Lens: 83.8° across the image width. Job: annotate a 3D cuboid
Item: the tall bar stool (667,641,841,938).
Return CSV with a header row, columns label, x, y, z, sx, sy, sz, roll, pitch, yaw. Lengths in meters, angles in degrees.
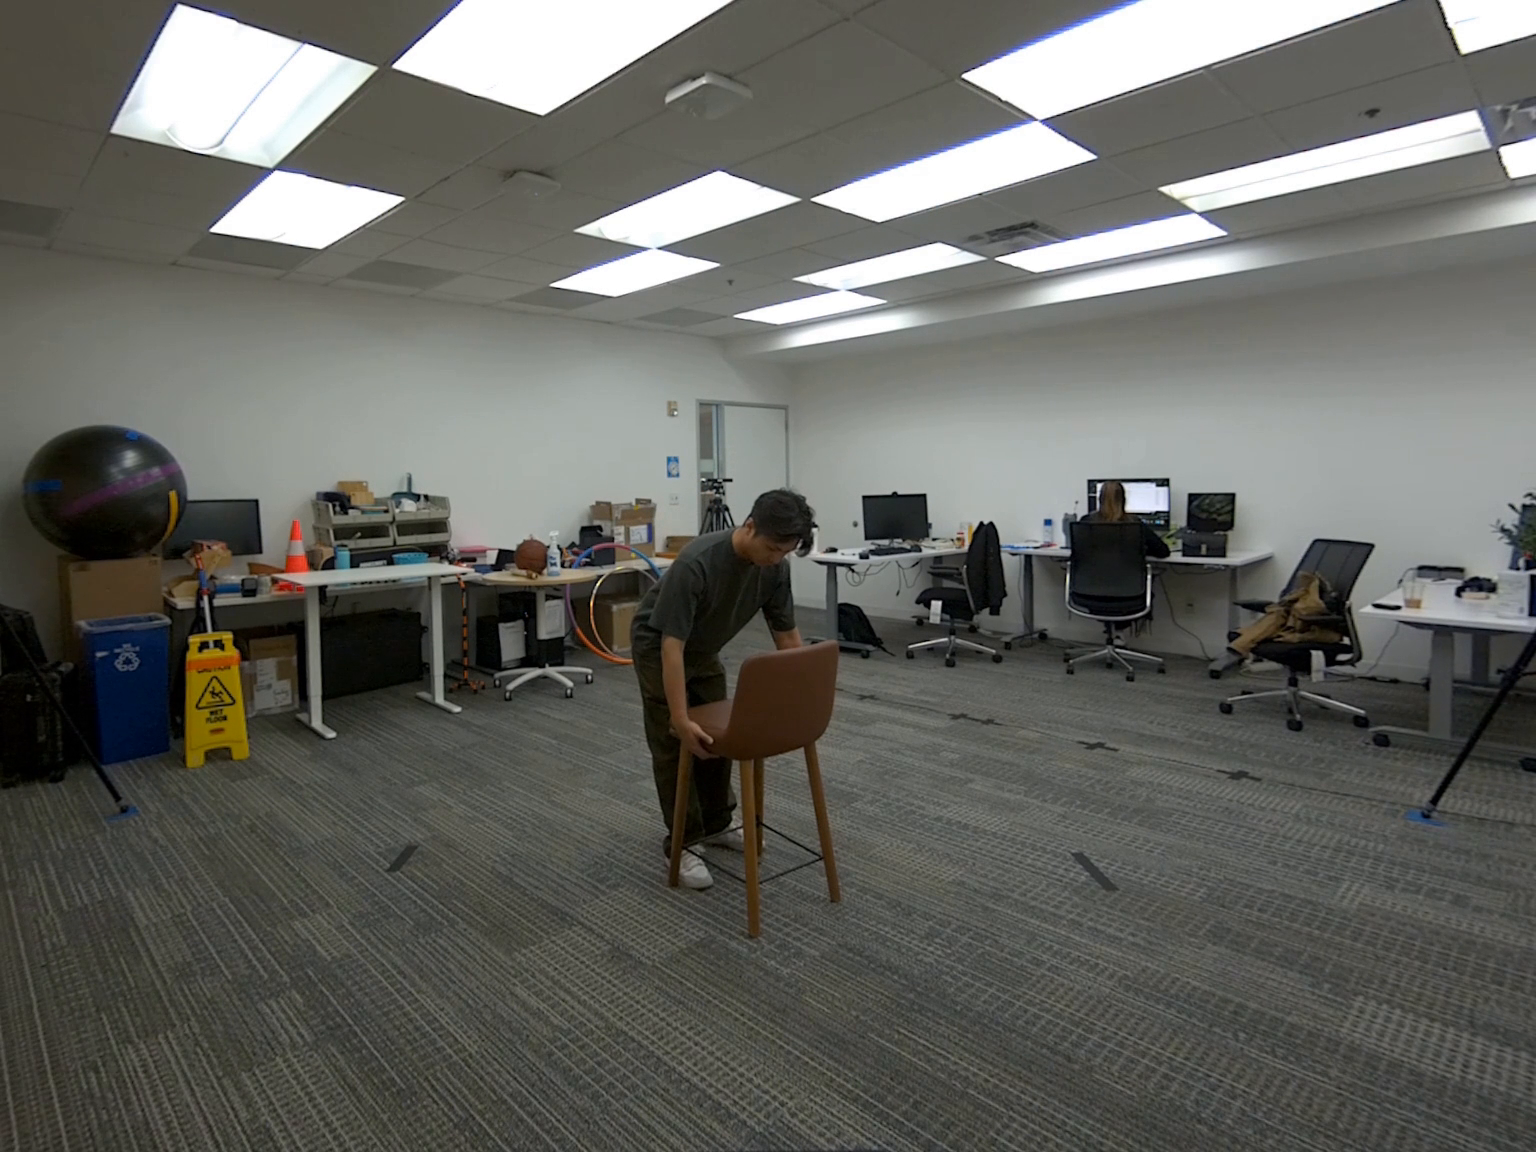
label,x,y,z,sx,sy,sz,roll,pitch,yaw
tall bar stool,-0.039,0.636,2.854,0.445,0.885,0.482,-4,8,-38
